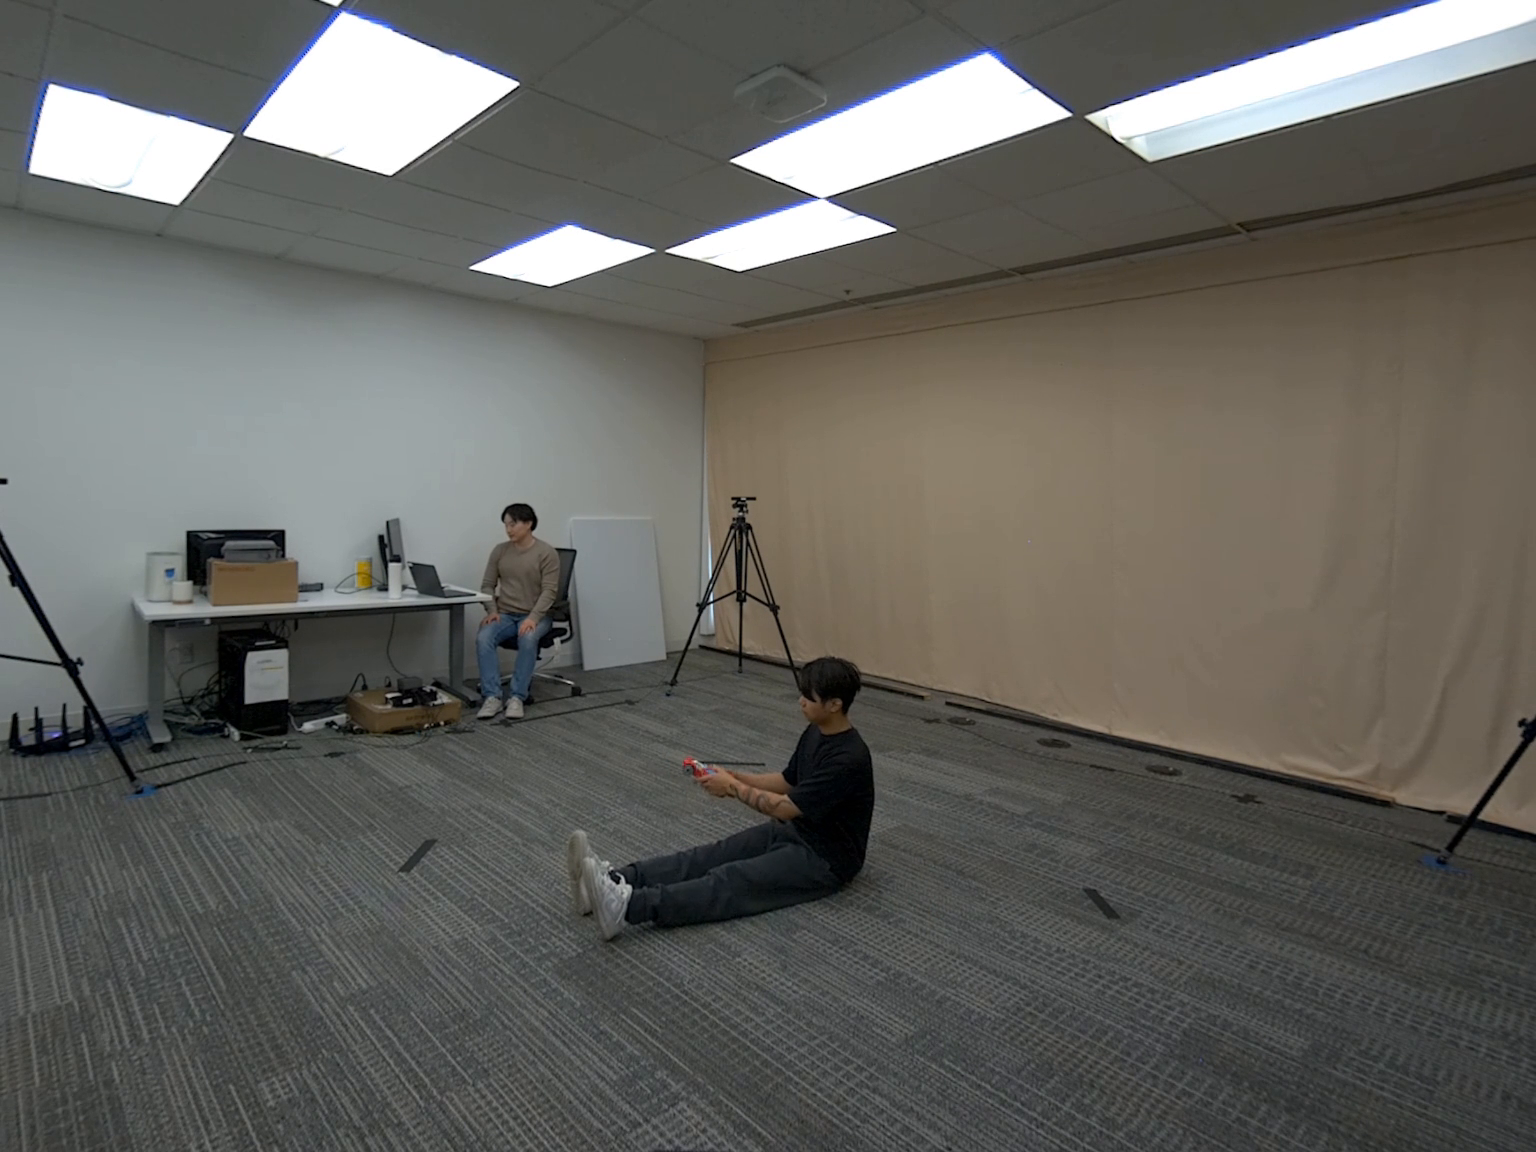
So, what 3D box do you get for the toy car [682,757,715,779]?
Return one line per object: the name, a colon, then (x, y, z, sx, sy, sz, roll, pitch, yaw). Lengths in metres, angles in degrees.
toy car: (-0.207, 0.768, 3.198, 0.255, 0.083, 0.130, 17, -1, 3)
